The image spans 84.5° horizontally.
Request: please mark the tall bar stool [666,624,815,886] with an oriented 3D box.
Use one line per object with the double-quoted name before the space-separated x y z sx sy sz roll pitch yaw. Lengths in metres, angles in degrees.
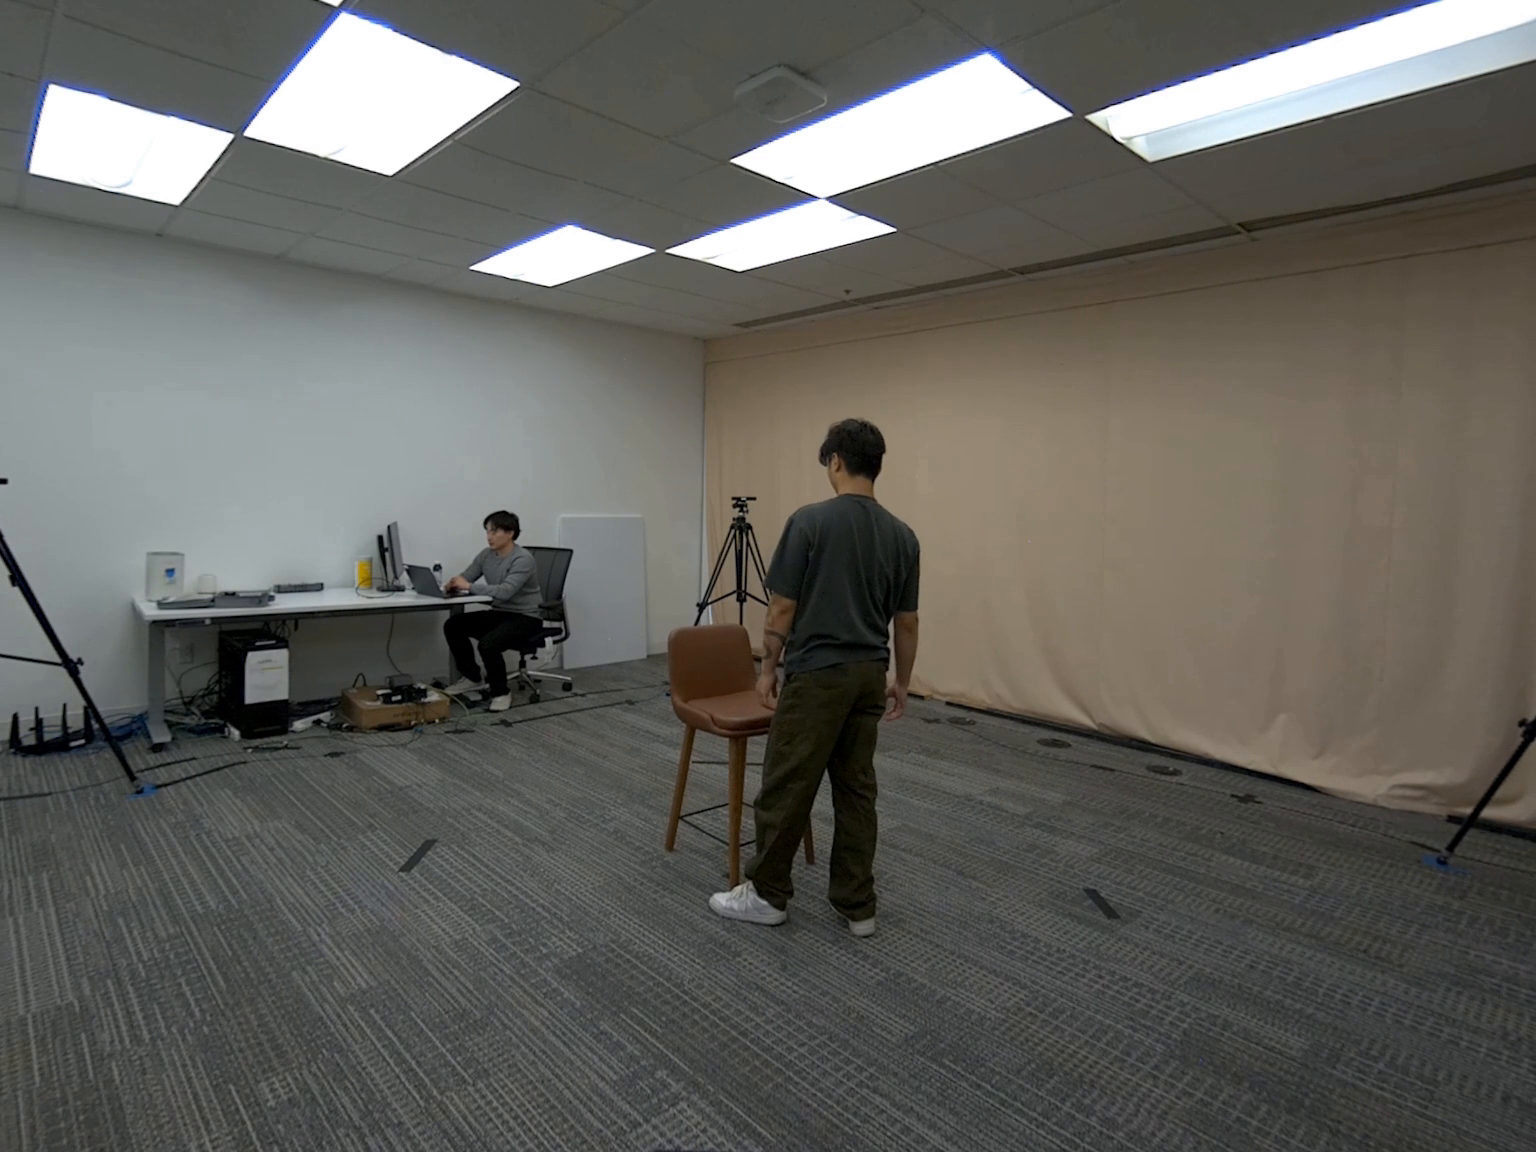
"tall bar stool" -0.119 0.659 3.247 0.446 0.889 0.479 -1 2 -41
